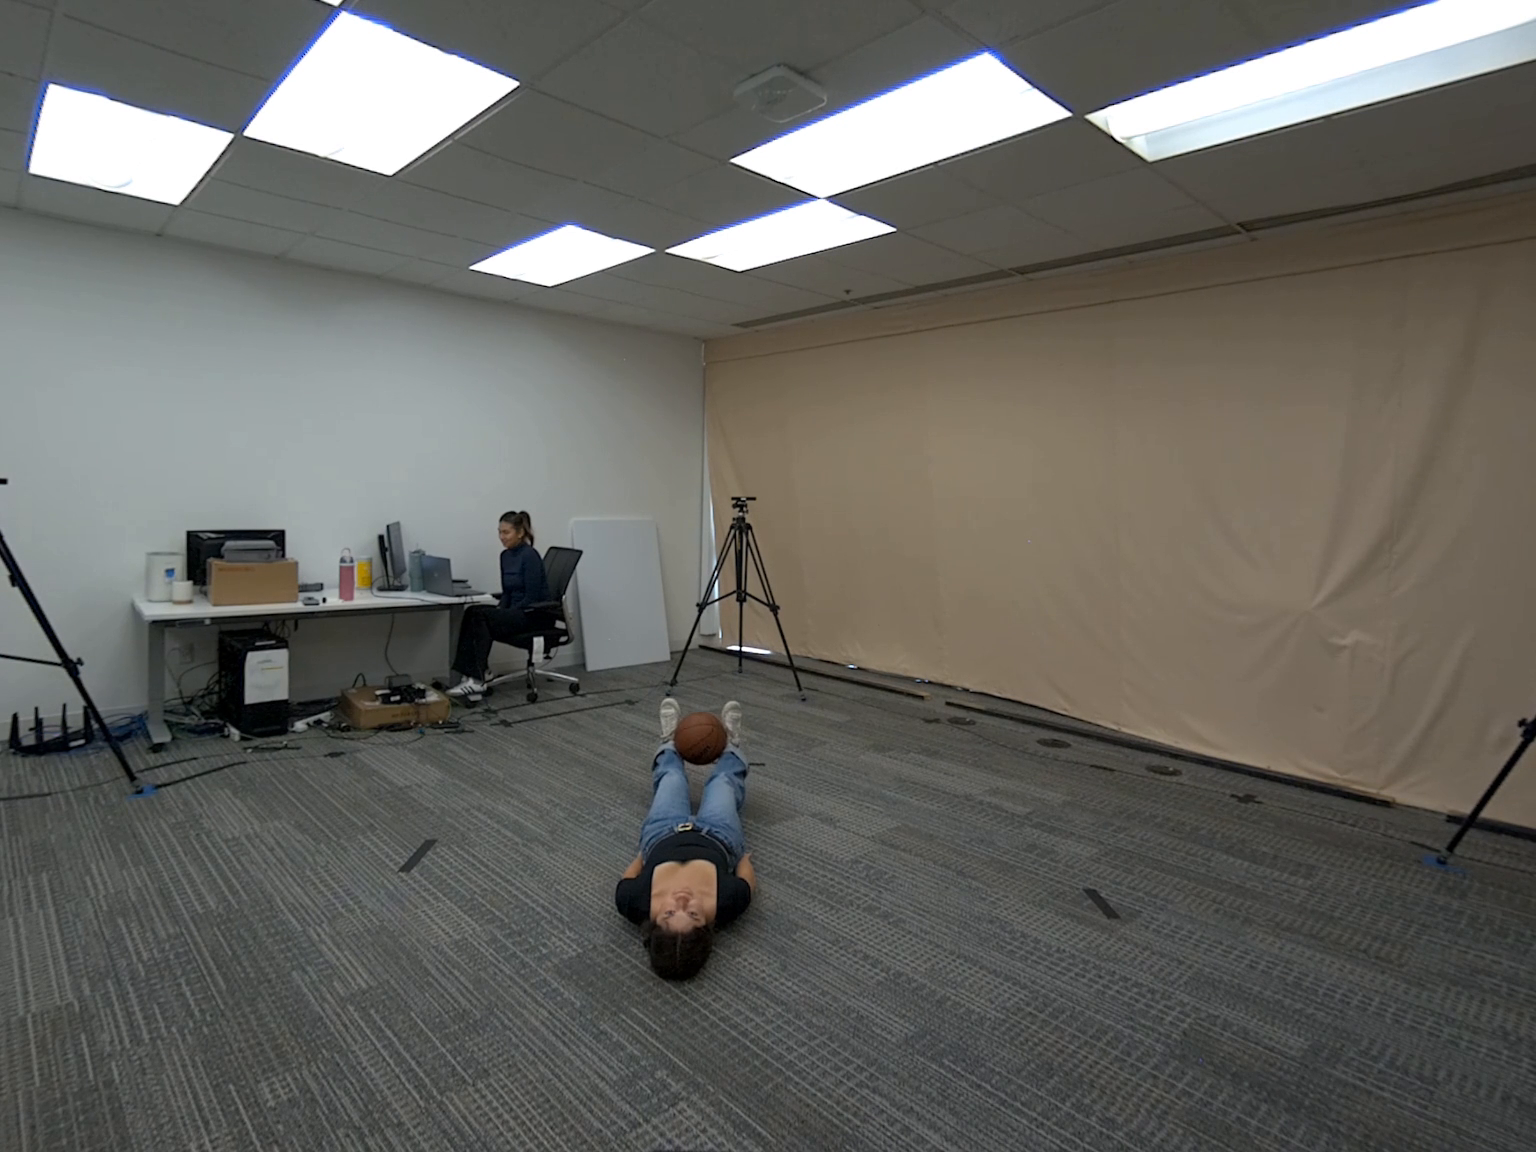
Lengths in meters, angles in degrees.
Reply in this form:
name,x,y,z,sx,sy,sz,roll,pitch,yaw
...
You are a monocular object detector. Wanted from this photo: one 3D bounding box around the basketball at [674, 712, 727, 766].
name,x,y,z,sx,sy,sz,roll,pitch,yaw
basketball,-0.318,0.735,3.836,0.236,0.235,0.237,1,4,-1
